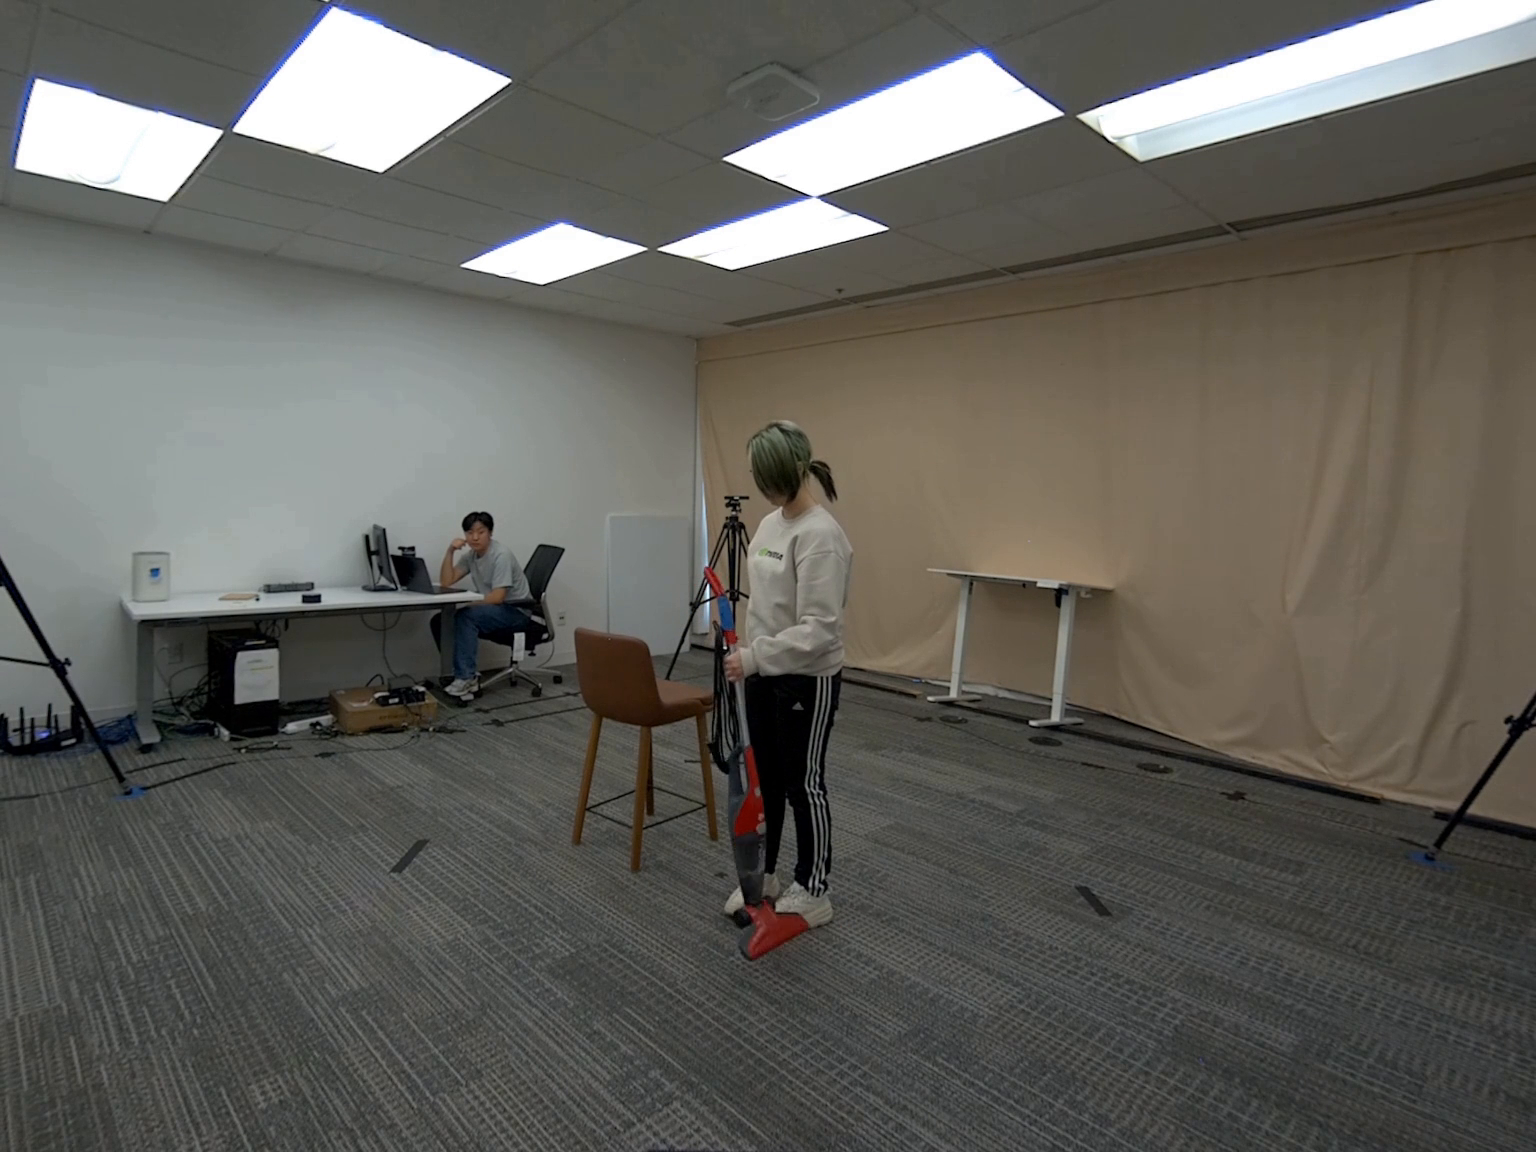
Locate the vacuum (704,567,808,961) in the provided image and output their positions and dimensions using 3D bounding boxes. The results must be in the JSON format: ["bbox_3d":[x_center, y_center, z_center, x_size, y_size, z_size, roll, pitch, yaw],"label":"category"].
[{"bbox_3d":[-0.105,0.509,2.484,0.247,1.054,0.146,-6,-6,-37],"label":"vacuum"}]
